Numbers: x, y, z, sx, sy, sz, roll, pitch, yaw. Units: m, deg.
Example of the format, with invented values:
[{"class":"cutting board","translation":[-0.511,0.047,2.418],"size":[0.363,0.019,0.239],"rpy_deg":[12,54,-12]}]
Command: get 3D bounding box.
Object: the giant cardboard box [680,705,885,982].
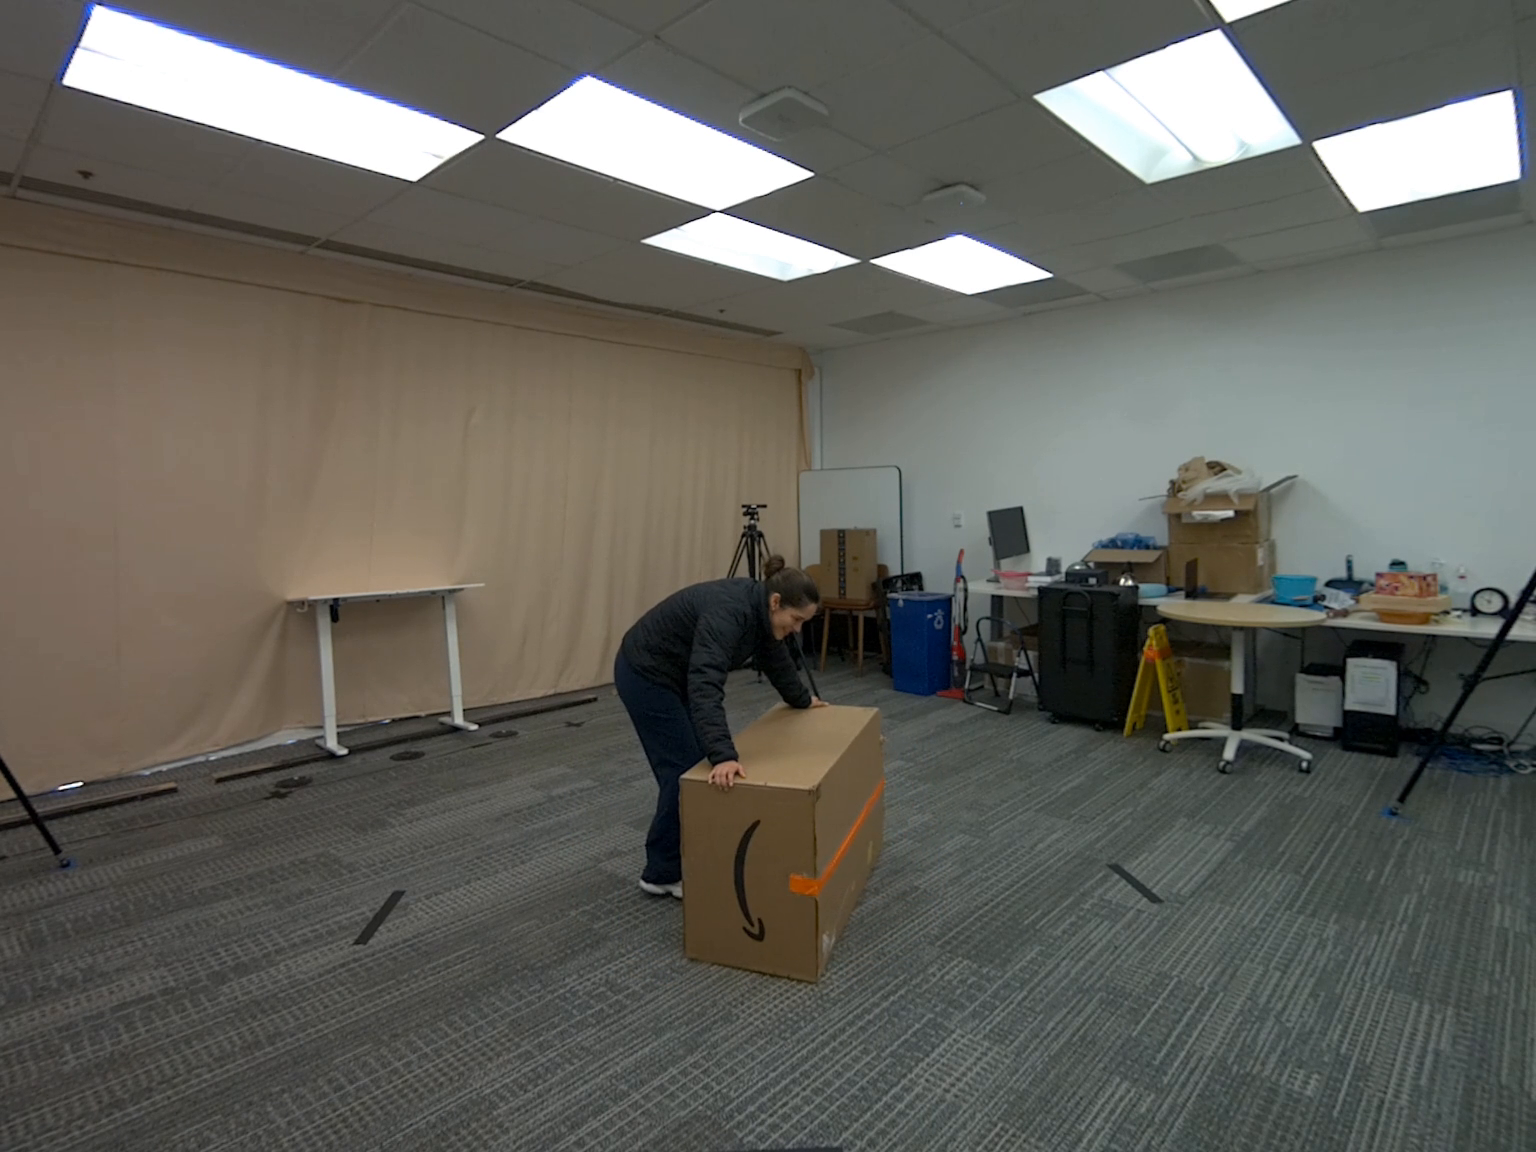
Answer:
[{"class":"giant cardboard box","translation":[0.116,0.852,2.972],"size":[0.456,0.583,1.008],"rpy_deg":[-1,4,19]}]
